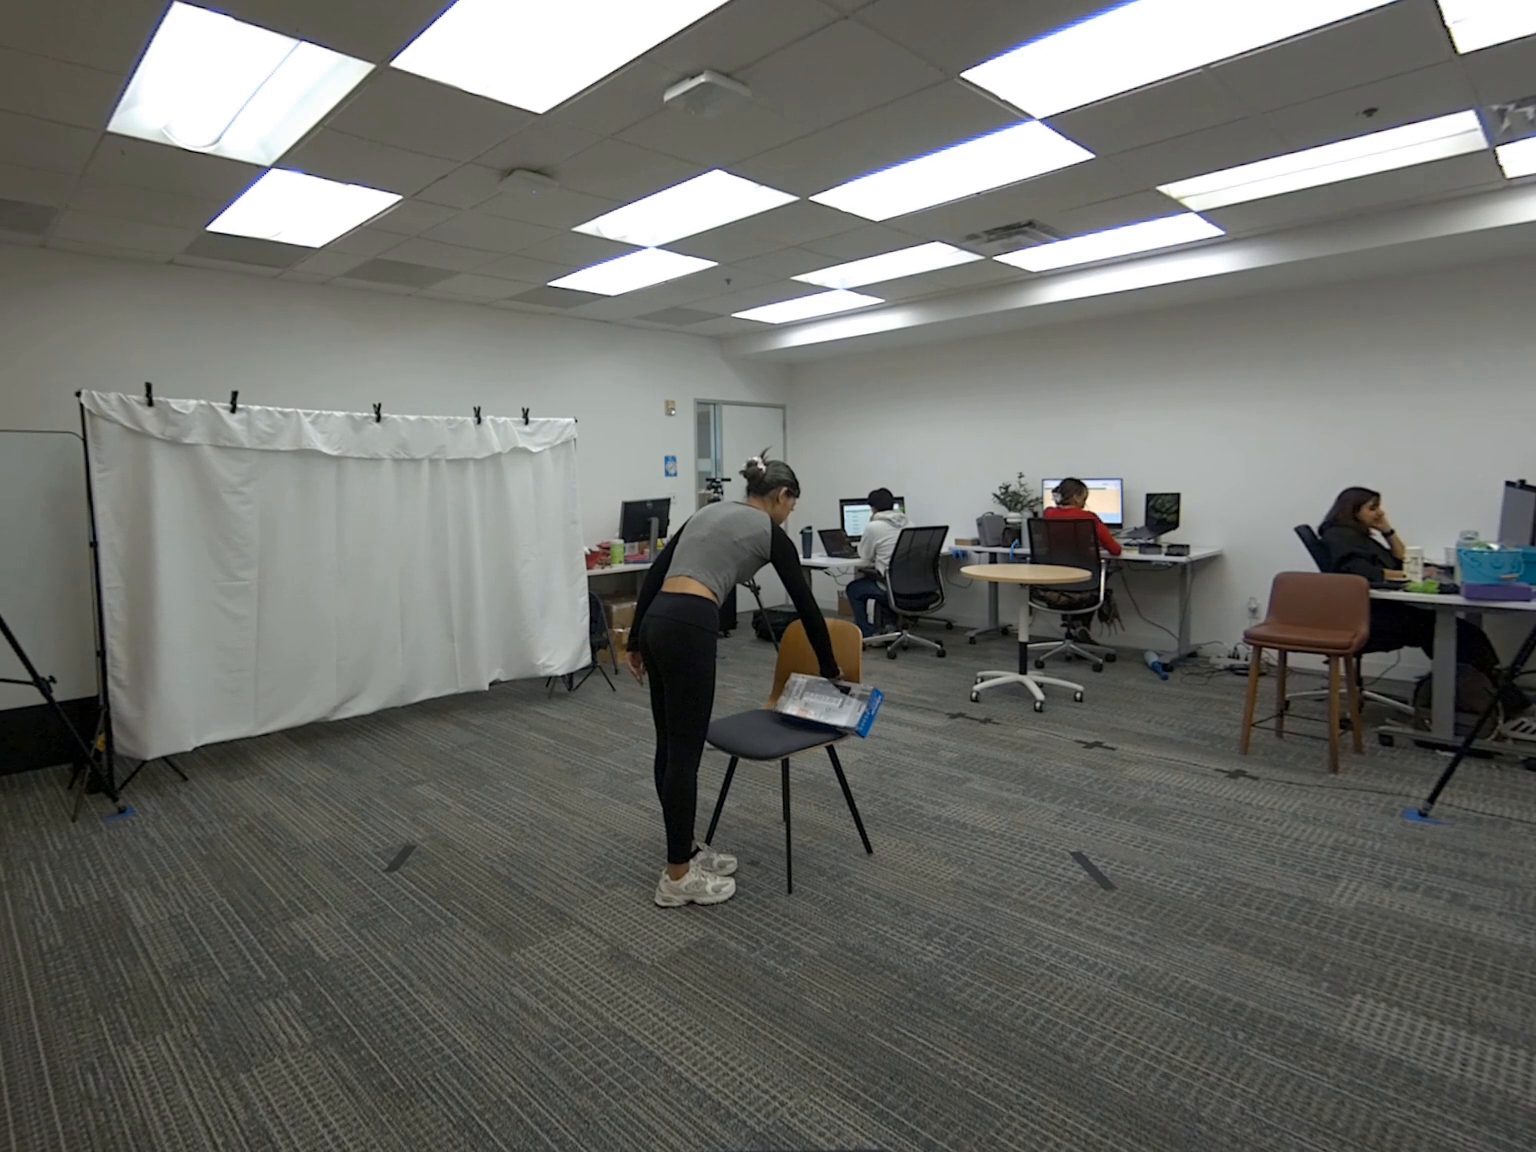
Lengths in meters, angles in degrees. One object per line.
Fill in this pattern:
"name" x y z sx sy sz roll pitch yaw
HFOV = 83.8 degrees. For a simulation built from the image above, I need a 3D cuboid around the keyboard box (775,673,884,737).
"keyboard box" 0.211 0.475 3.125 0.449 0.177 0.057 2 -35 51
